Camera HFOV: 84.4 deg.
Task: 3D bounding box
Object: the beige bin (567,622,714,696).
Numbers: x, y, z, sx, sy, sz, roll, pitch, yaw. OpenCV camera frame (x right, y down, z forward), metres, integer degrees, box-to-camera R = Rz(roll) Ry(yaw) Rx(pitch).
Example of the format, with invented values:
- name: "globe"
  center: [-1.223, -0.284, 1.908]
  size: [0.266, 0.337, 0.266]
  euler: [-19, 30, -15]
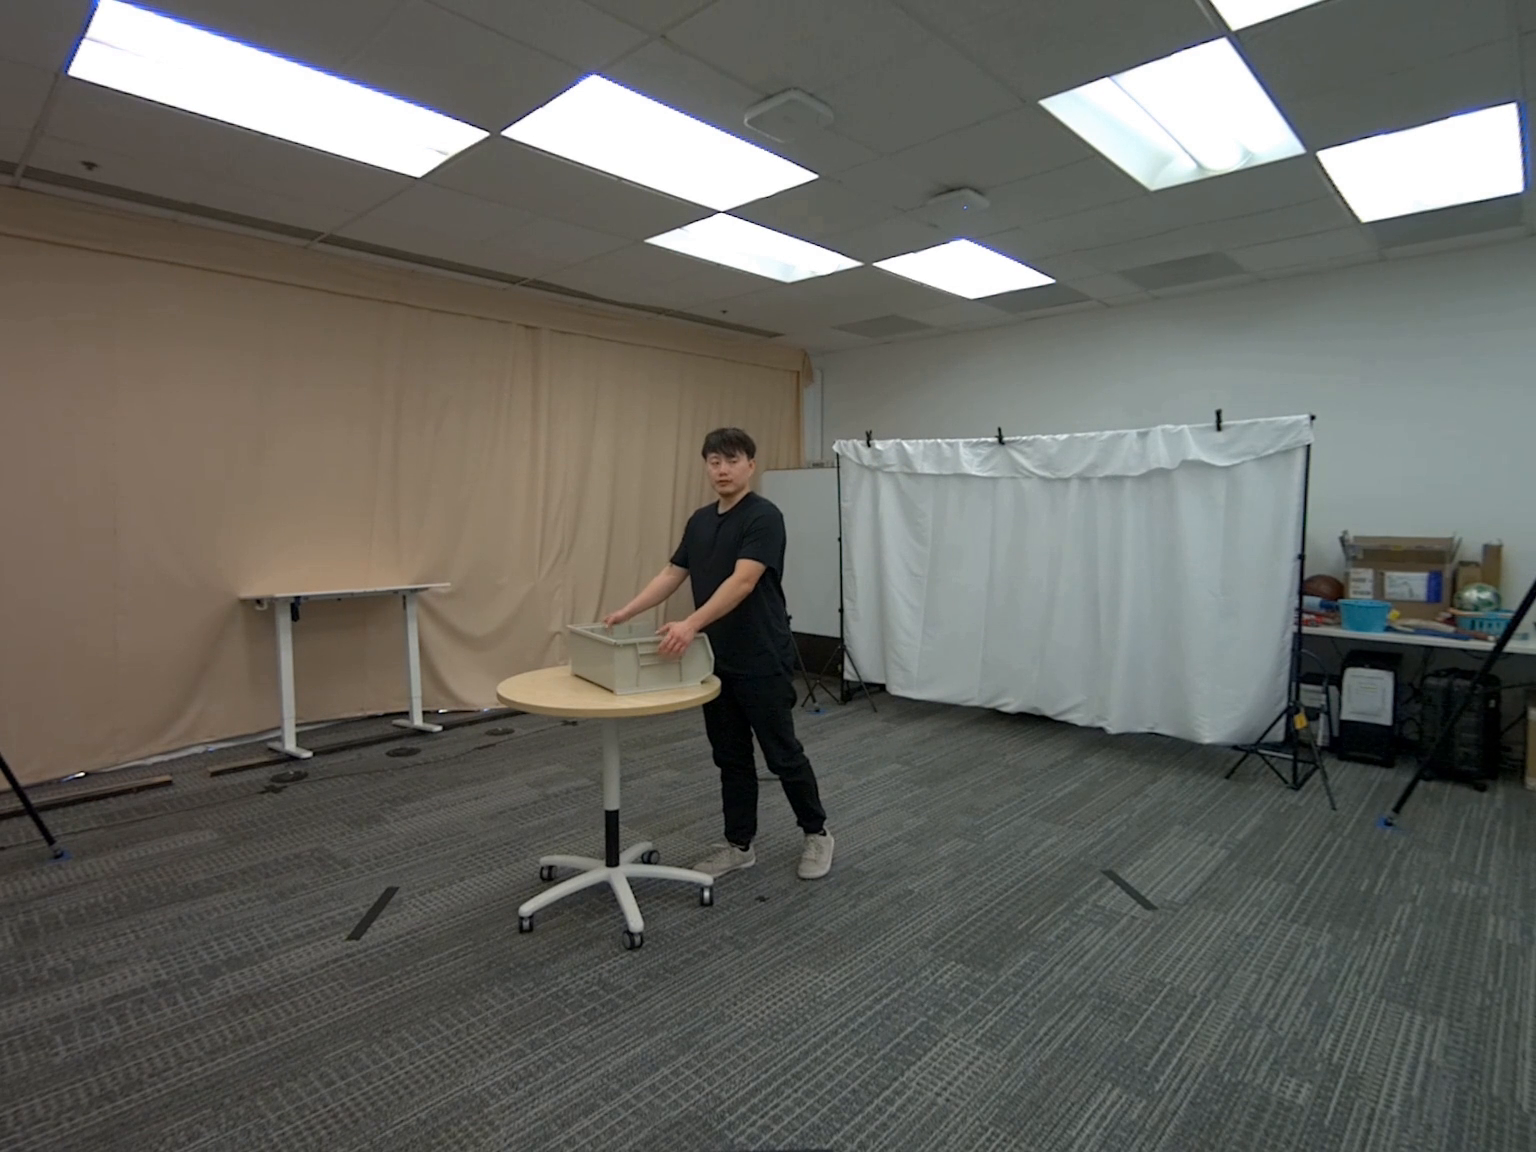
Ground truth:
- name: "beige bin"
  center: [-0.460, 0.277, 2.968]
  size: [0.367, 0.188, 0.436]
  euler: [-6, 7, -34]
